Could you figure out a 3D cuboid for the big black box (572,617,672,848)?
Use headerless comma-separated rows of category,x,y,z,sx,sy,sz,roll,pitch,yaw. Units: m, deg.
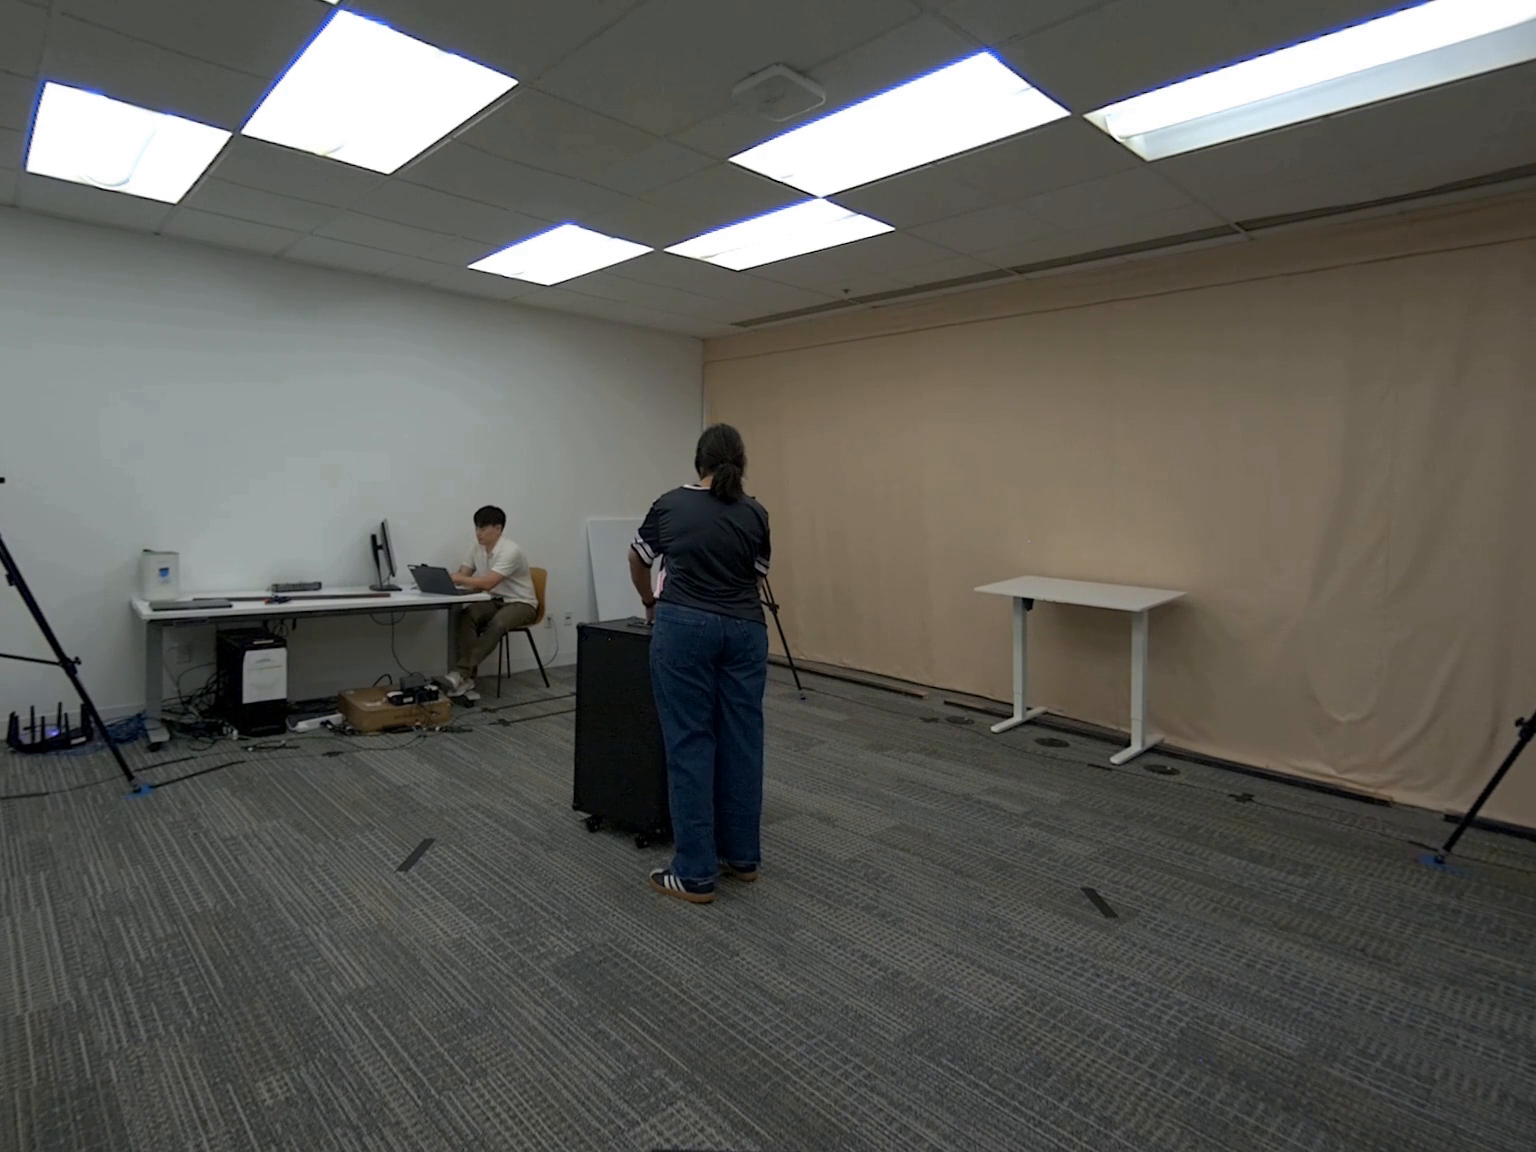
big black box,-0.520,0.635,3.535,0.535,0.867,0.377,4,3,31
